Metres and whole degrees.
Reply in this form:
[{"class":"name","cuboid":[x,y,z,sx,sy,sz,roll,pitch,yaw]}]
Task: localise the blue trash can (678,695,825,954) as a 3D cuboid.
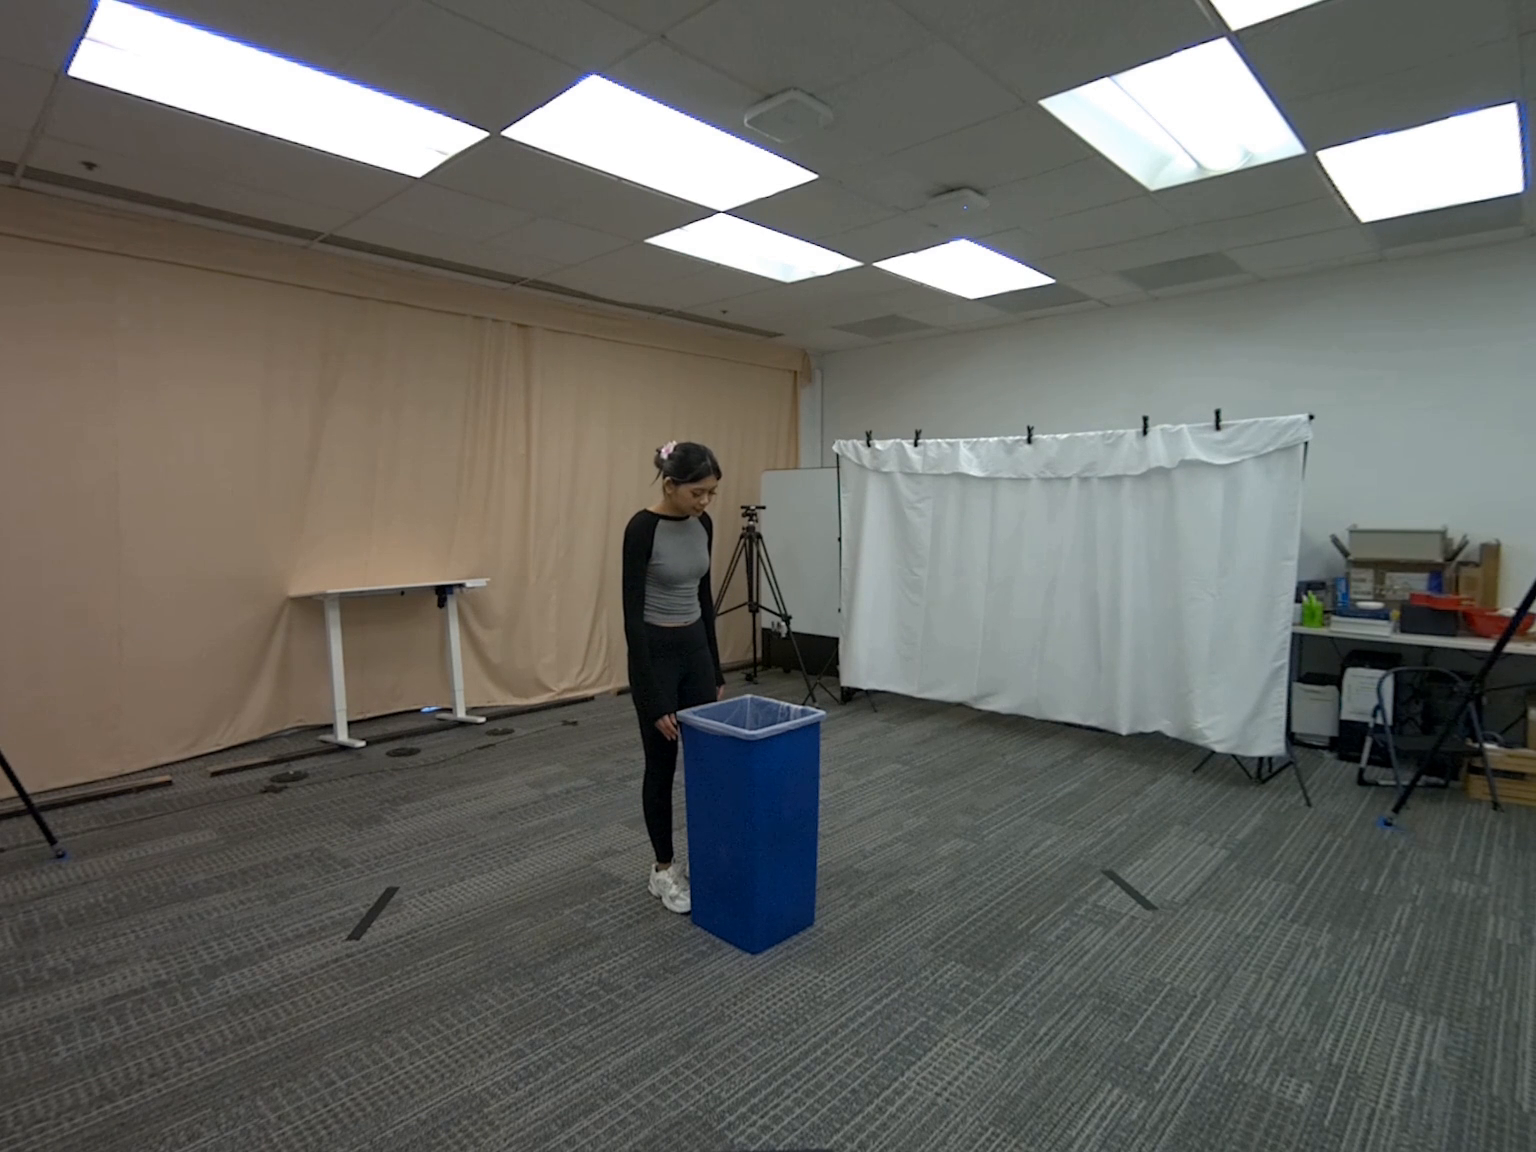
[{"class":"blue trash can","cuboid":[-0.050,0.803,2.784,0.391,0.712,0.362,3,4,44]}]
